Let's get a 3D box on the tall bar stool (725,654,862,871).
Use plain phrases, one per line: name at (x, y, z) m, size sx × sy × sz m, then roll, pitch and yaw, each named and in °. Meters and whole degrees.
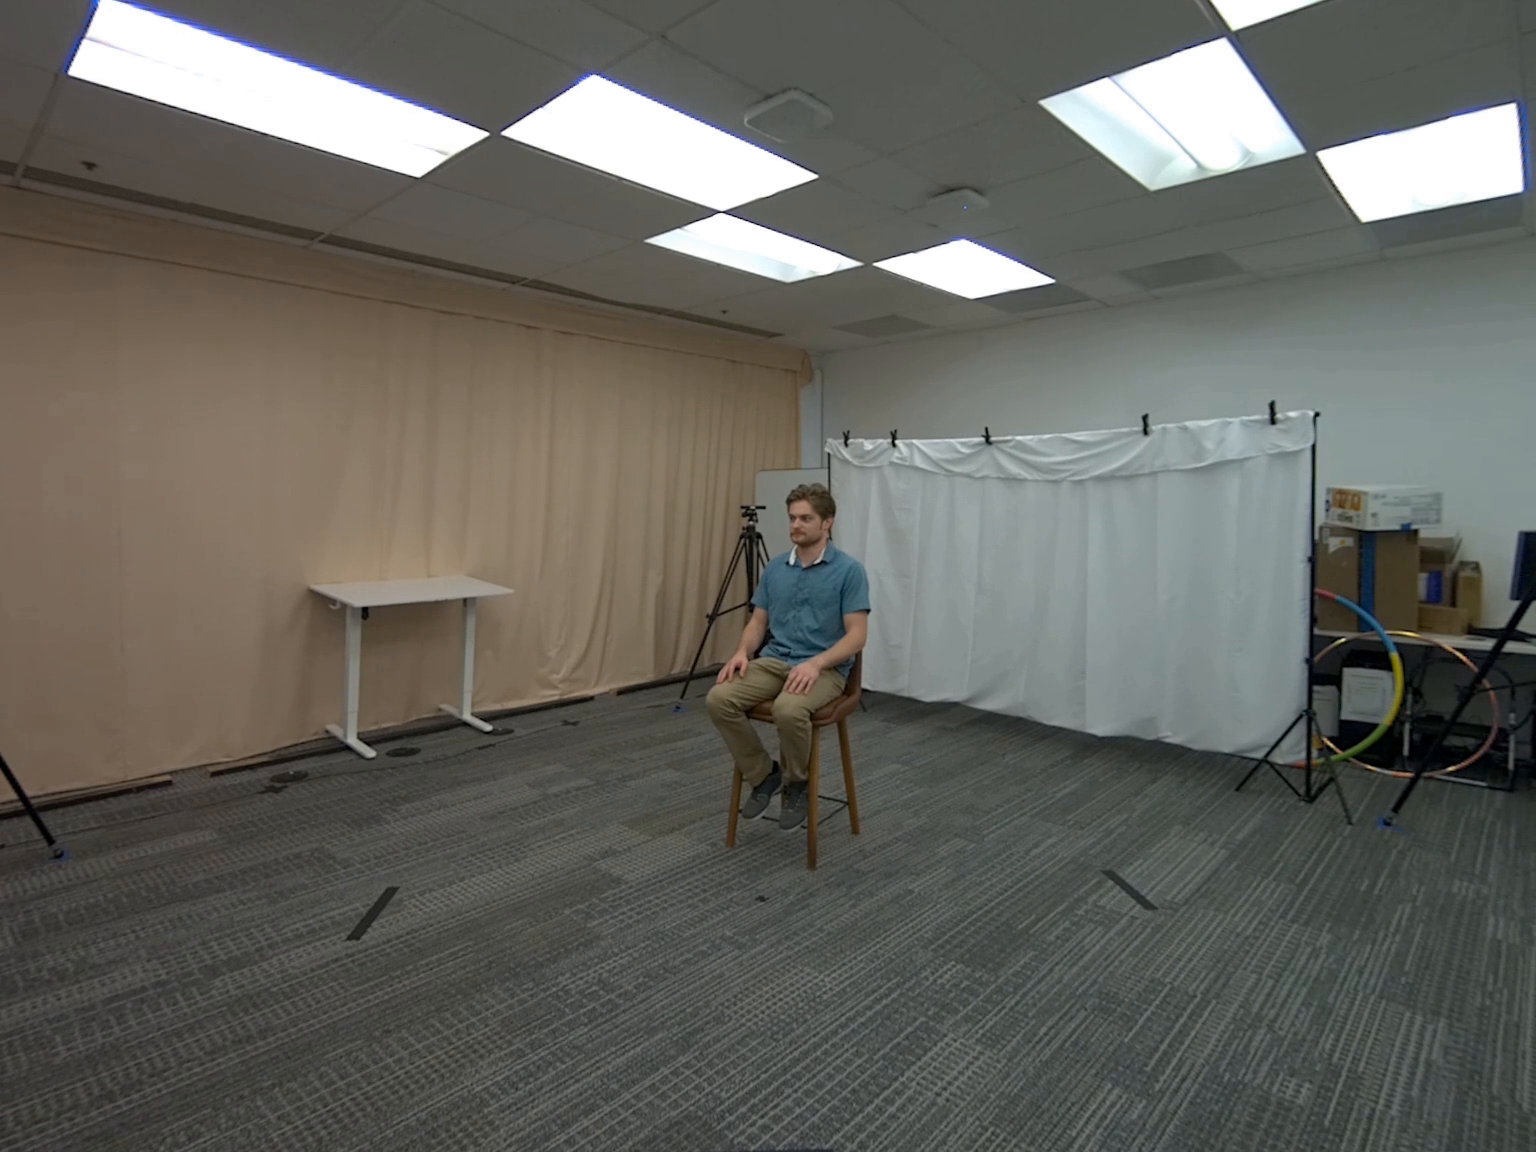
tall bar stool at (0.129, 0.663, 3.495) m, size 0.471 × 0.889 × 0.454 m, roll 3°, pitch 2°, yaw 34°
